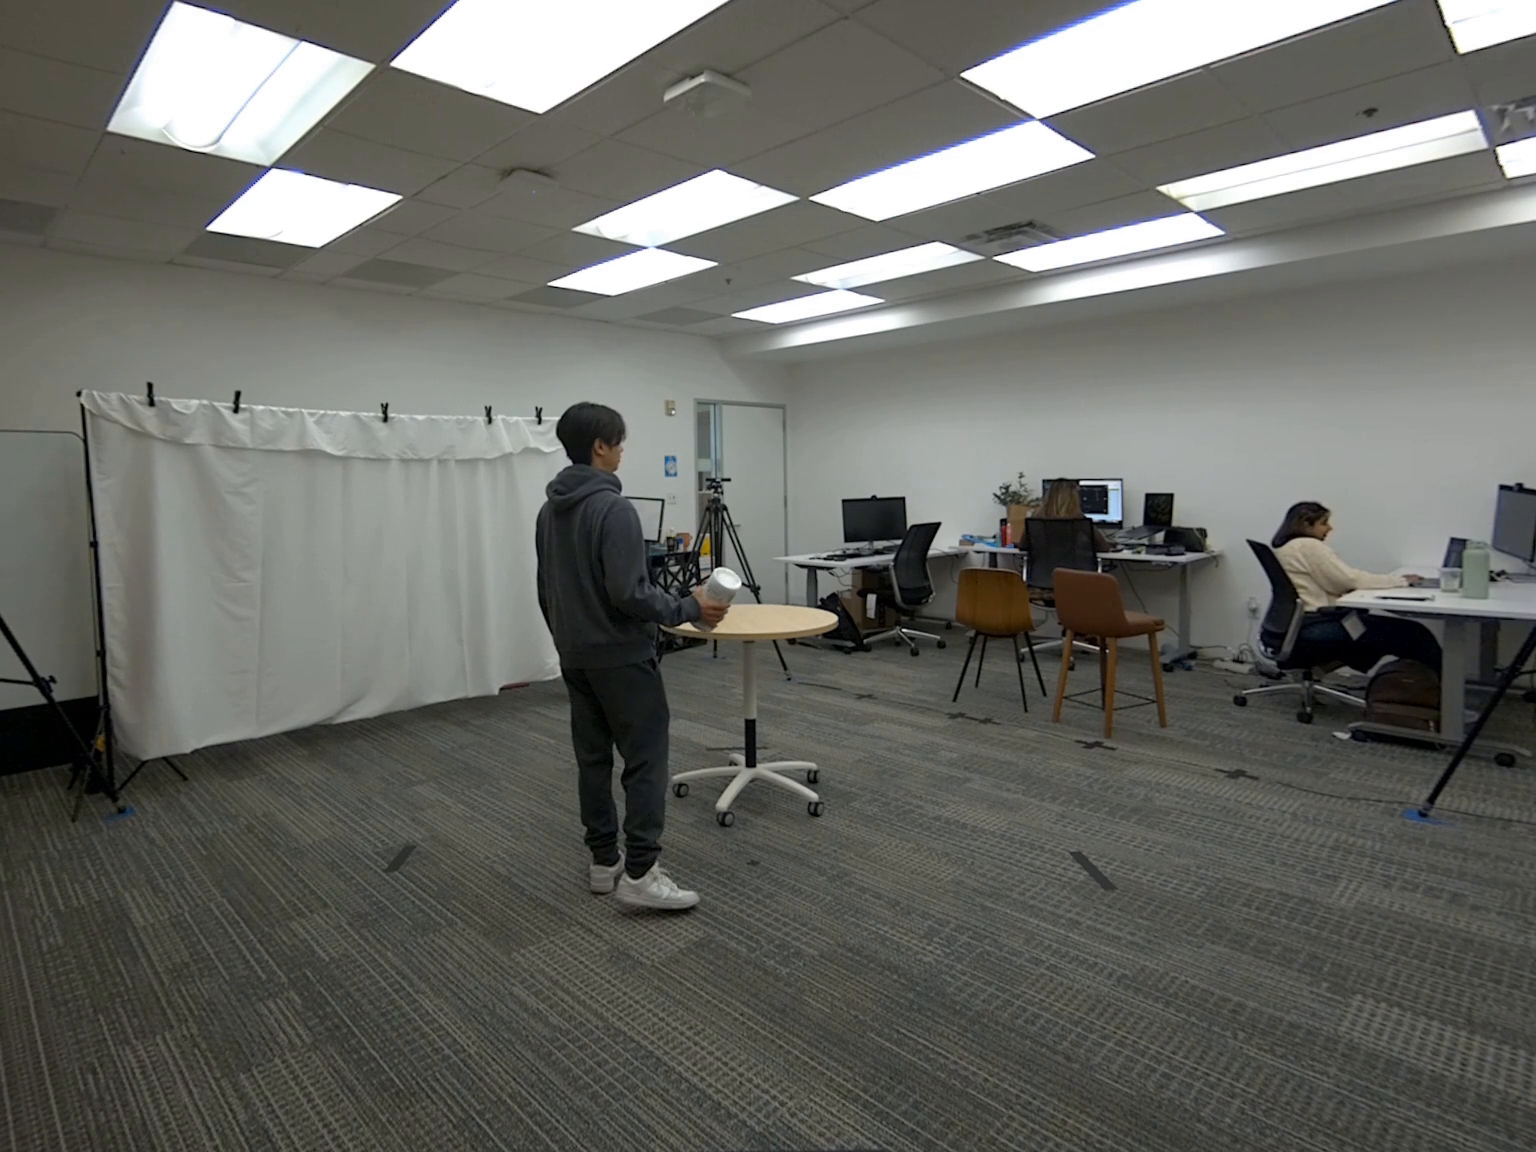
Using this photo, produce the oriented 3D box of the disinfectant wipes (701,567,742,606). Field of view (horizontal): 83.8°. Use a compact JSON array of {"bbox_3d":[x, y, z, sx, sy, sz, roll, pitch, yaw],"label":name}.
[{"bbox_3d":[-0.182,0.081,2.924,0.116,0.215,0.121,21,31,-15],"label":"disinfectant wipes"}]
